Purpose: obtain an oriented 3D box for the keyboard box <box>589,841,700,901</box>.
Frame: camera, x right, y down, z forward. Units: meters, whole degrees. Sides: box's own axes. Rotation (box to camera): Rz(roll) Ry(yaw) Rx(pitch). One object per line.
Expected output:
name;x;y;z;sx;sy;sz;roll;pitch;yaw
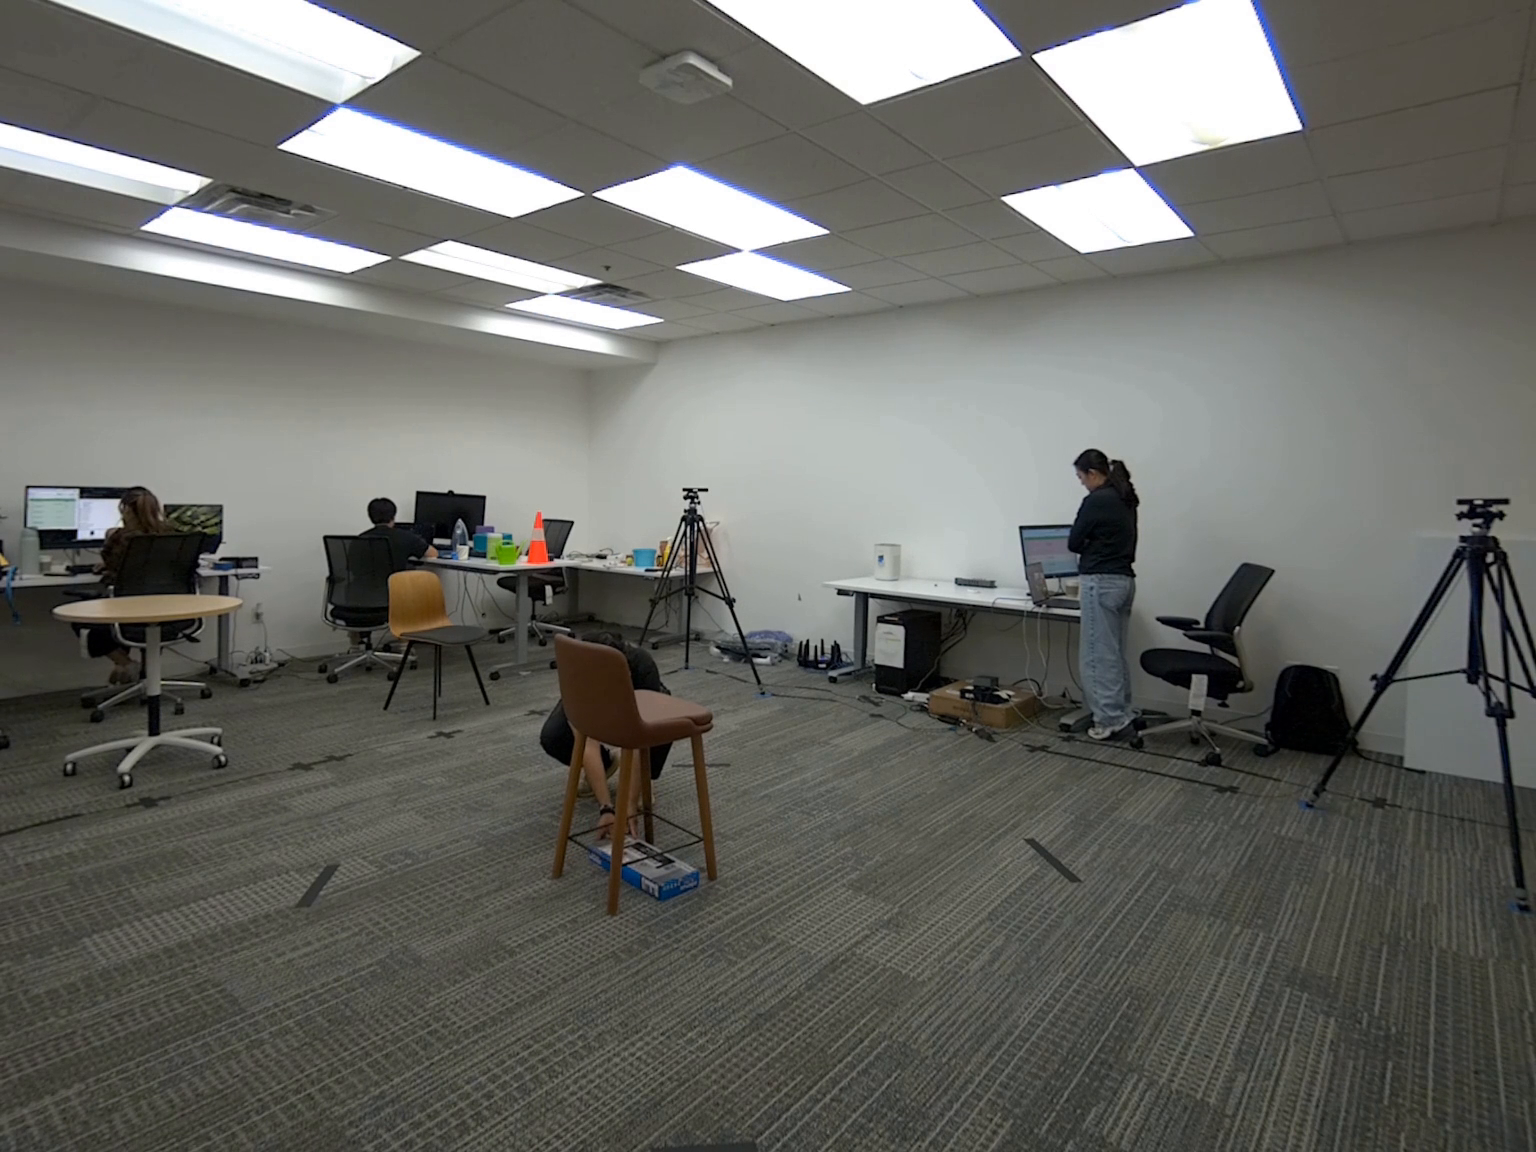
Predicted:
keyboard box;-0.466;1.041;3.075;0.171;0.059;0.452;-5;8;-43
